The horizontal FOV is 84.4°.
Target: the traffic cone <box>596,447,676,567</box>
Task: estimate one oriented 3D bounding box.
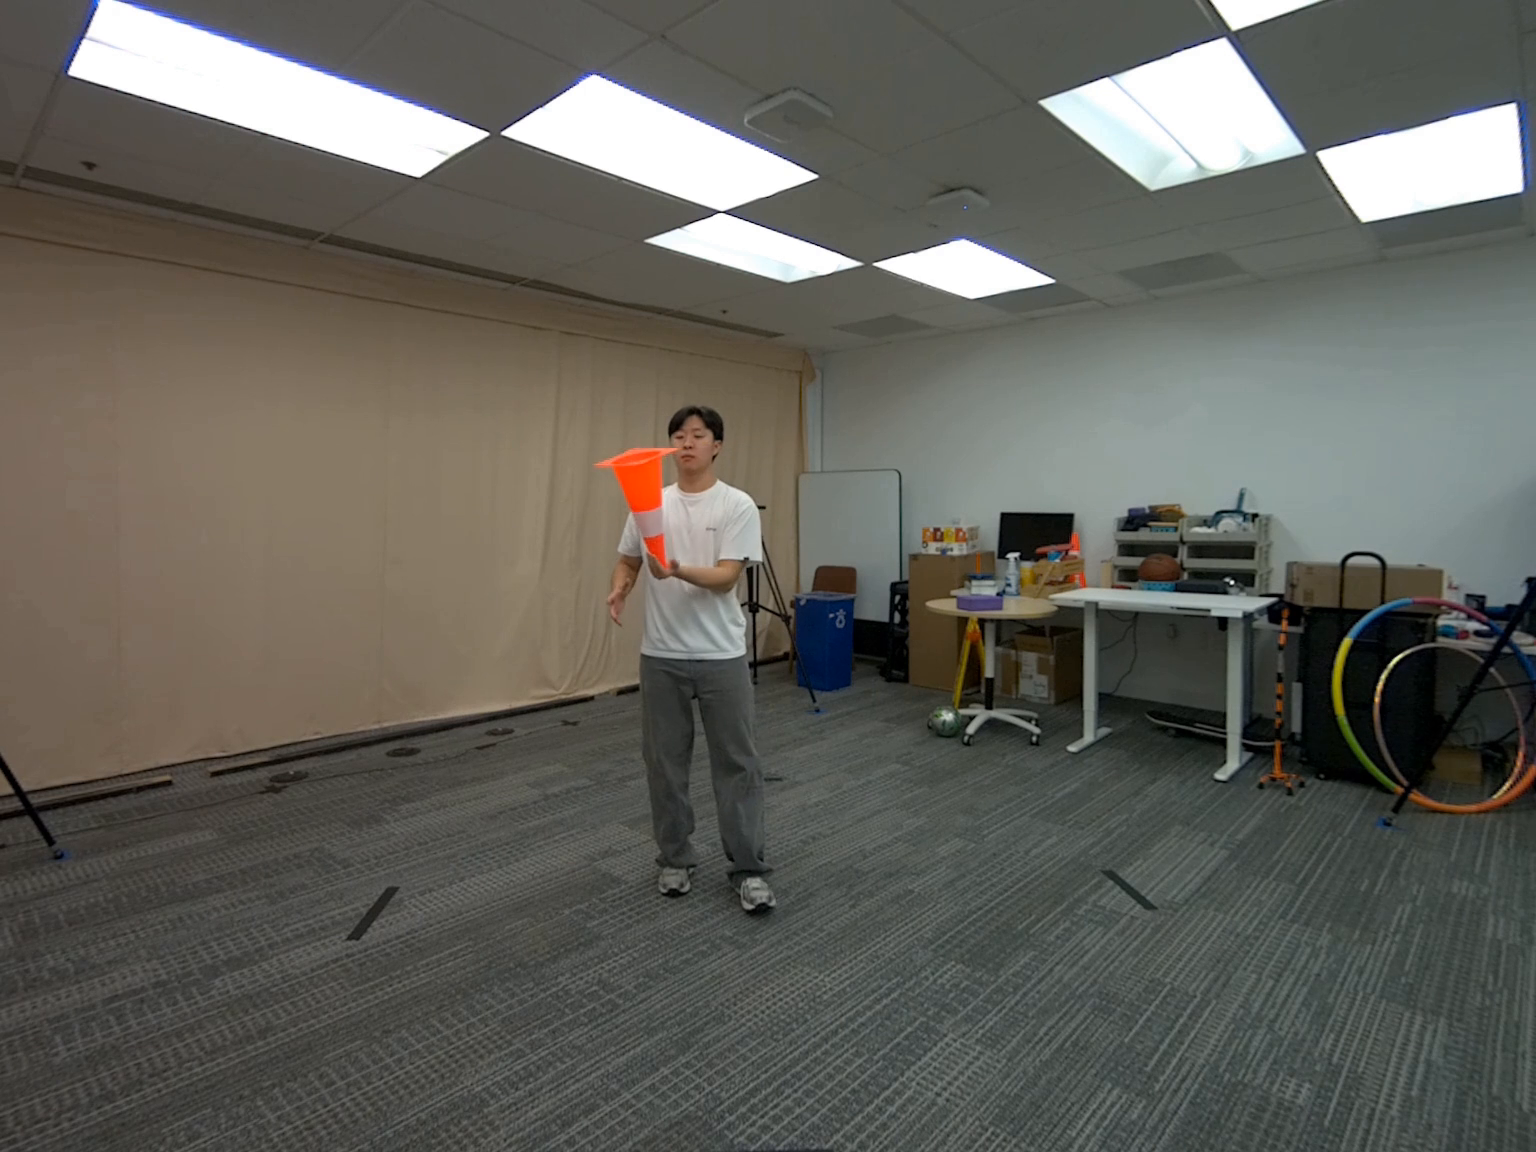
[{"bbox_3d":[-0.380,-0.197,2.693,0.210,0.378,0.201,5,23,37],"label":"traffic cone"}]
